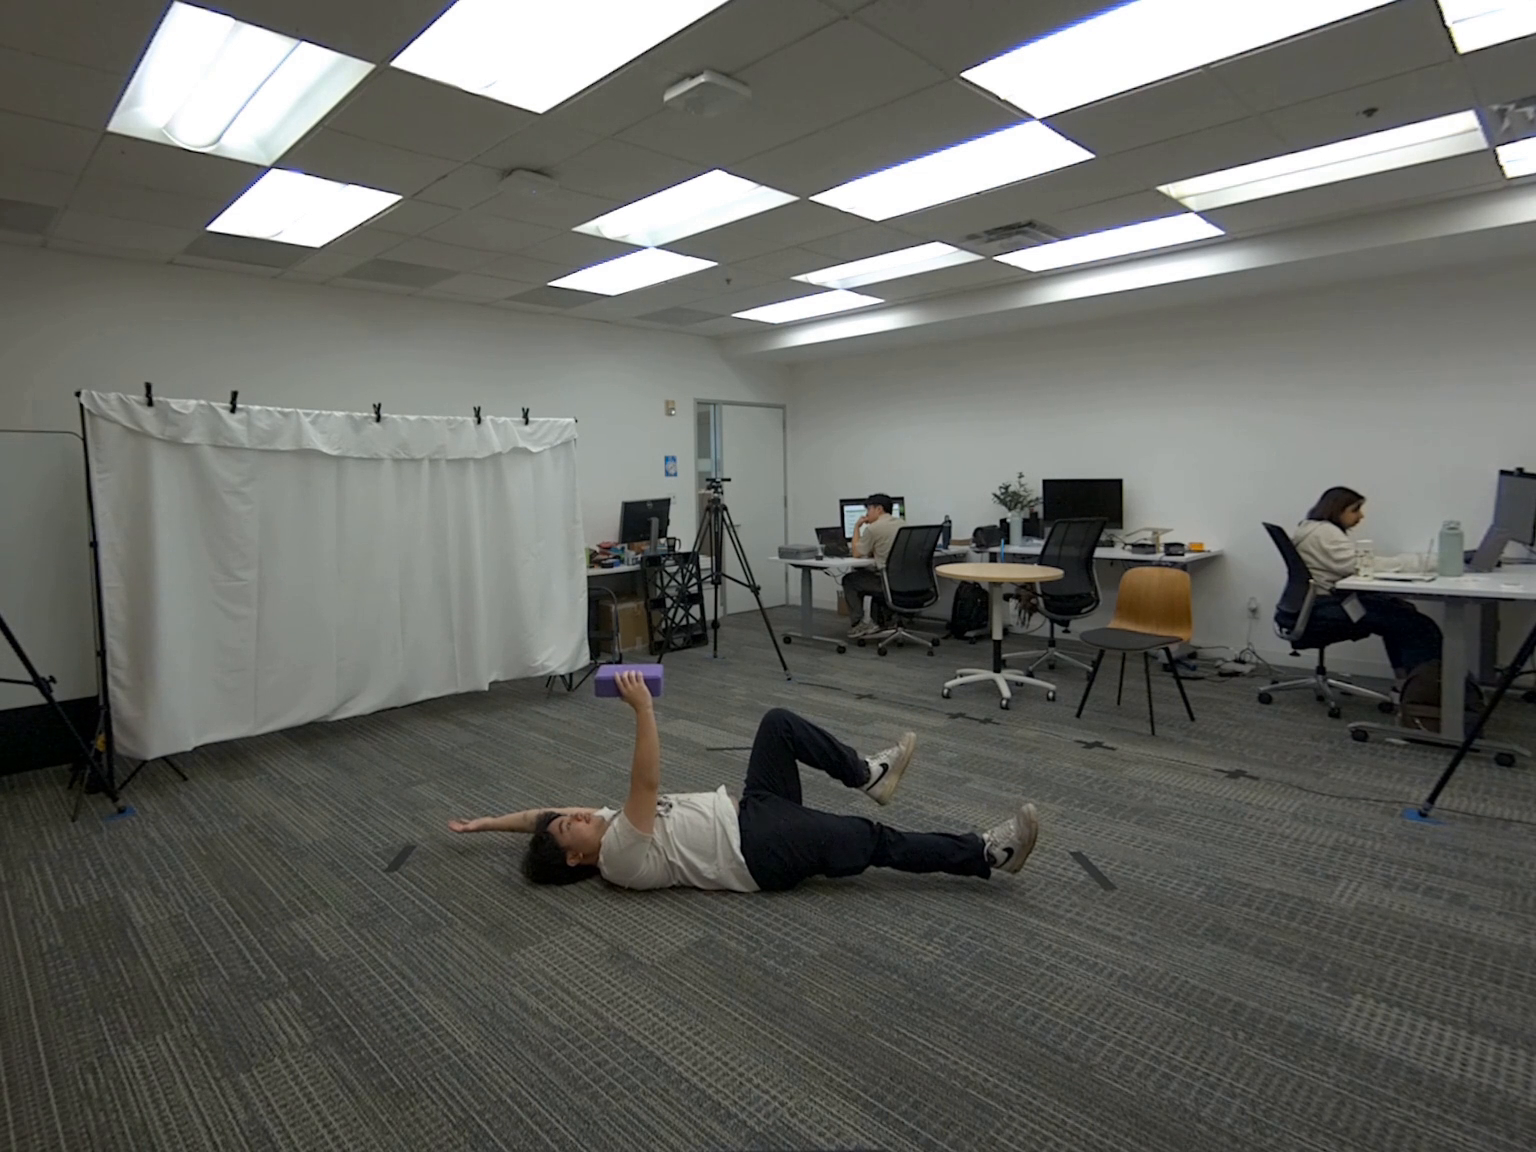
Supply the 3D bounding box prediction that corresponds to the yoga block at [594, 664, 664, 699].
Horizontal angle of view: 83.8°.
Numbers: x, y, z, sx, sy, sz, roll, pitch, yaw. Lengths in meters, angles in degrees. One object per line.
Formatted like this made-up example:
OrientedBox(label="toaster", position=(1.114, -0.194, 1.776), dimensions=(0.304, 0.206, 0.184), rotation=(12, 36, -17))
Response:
OrientedBox(label="yoga block", position=(-0.485, 0.368, 2.992), dimensions=(0.230, 0.076, 0.150), rotation=(0, 11, 2))
